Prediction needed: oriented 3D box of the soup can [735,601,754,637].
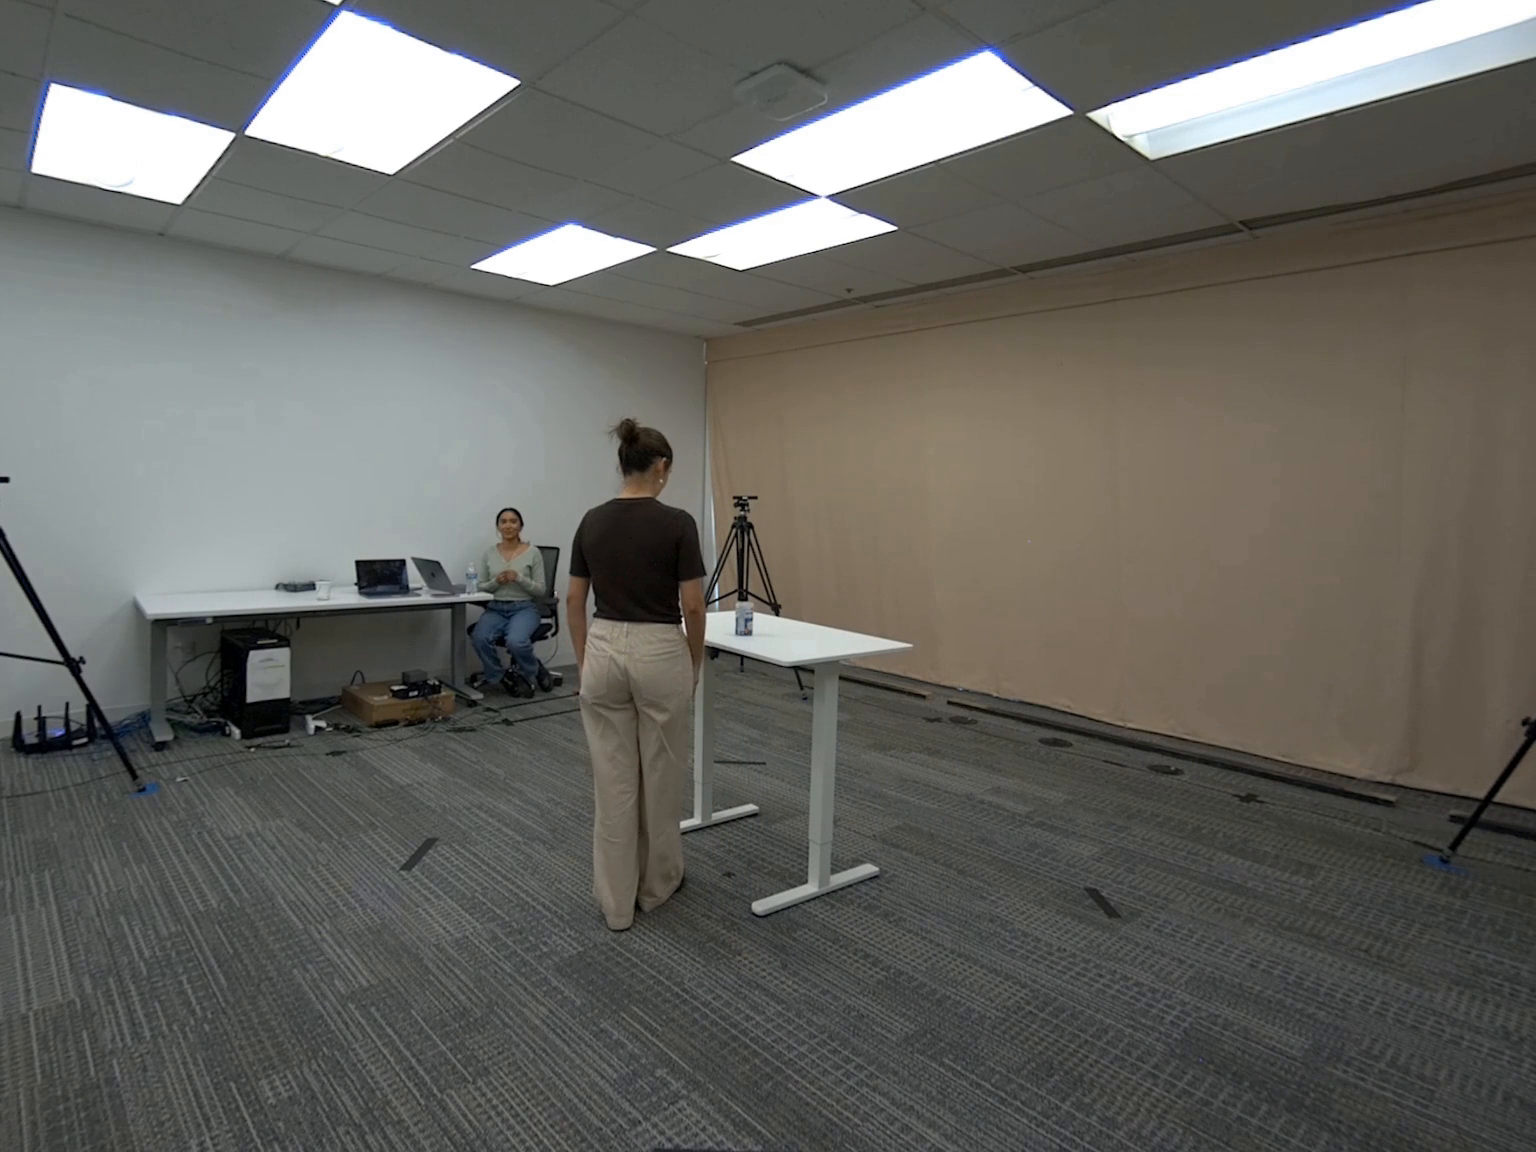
[{"bbox_3d":[-0.098,0.162,3.119,0.067,0.121,0.067,1,6,-1],"label":"soup can"}]
